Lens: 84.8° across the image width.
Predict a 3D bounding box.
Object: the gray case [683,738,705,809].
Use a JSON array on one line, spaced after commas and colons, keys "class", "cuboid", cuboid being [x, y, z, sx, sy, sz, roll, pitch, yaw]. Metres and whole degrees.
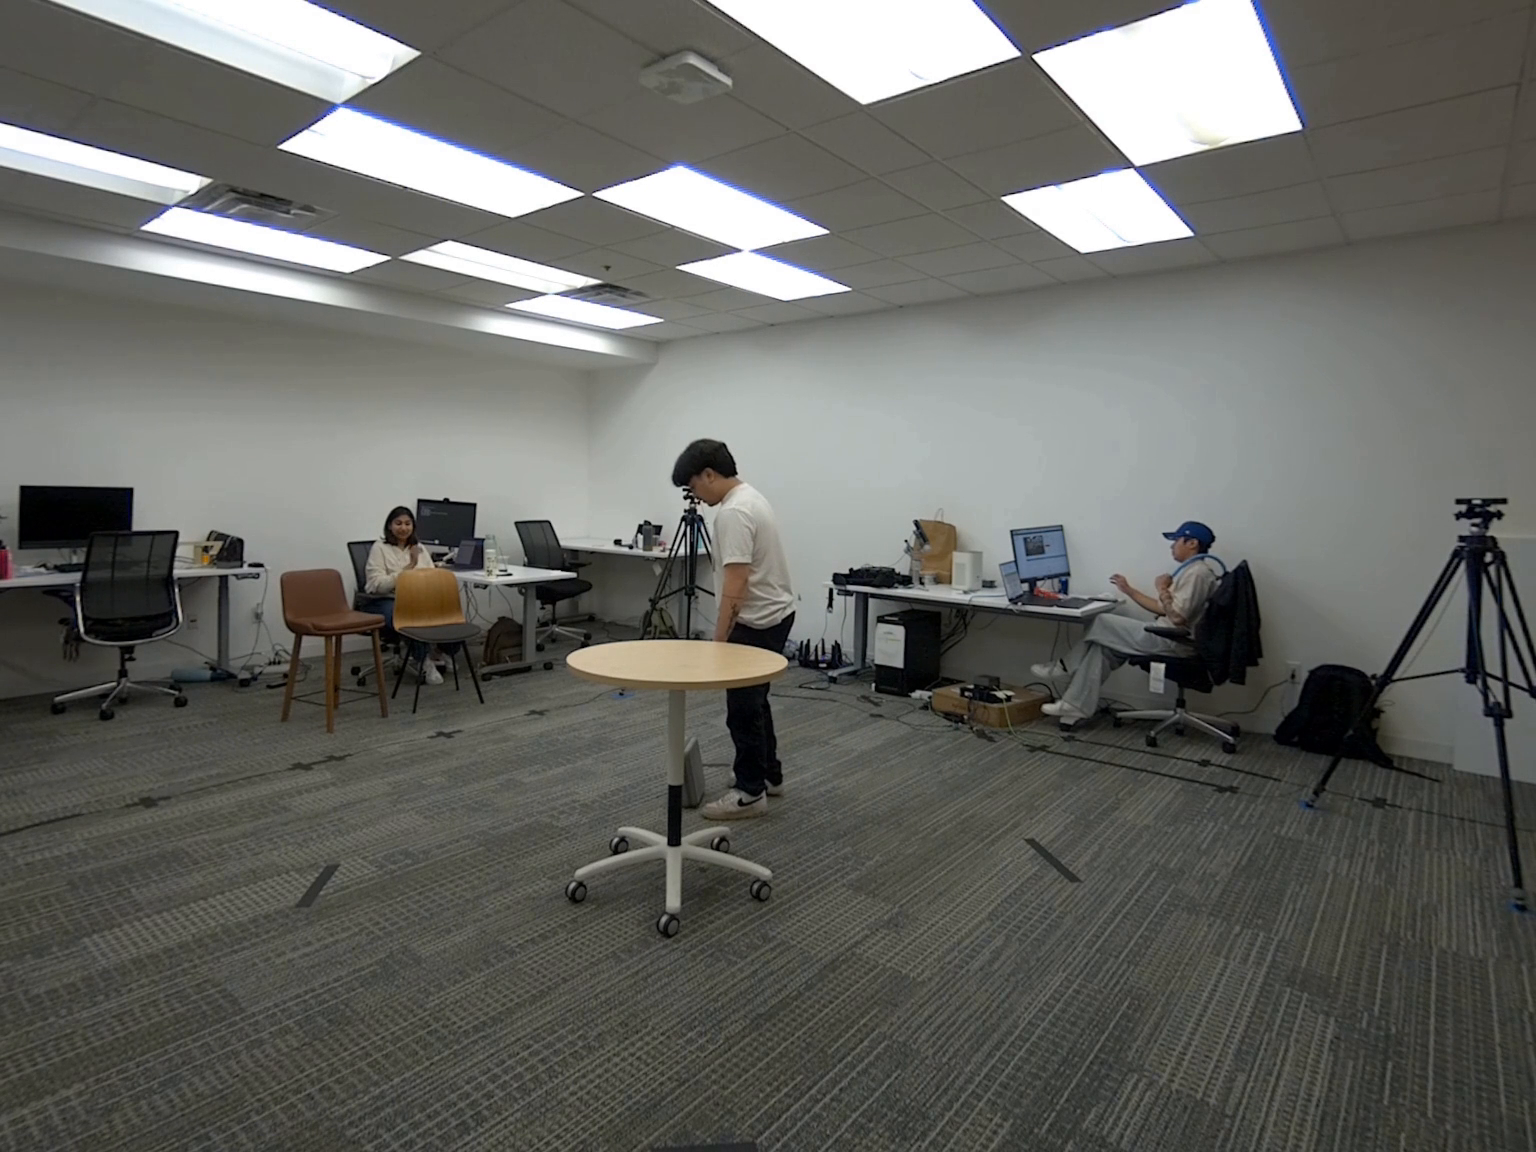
[{"class": "gray case", "cuboid": [-0.380, 0.874, 3.827, 0.105, 0.260, 0.256, -10, 3, 6]}]
